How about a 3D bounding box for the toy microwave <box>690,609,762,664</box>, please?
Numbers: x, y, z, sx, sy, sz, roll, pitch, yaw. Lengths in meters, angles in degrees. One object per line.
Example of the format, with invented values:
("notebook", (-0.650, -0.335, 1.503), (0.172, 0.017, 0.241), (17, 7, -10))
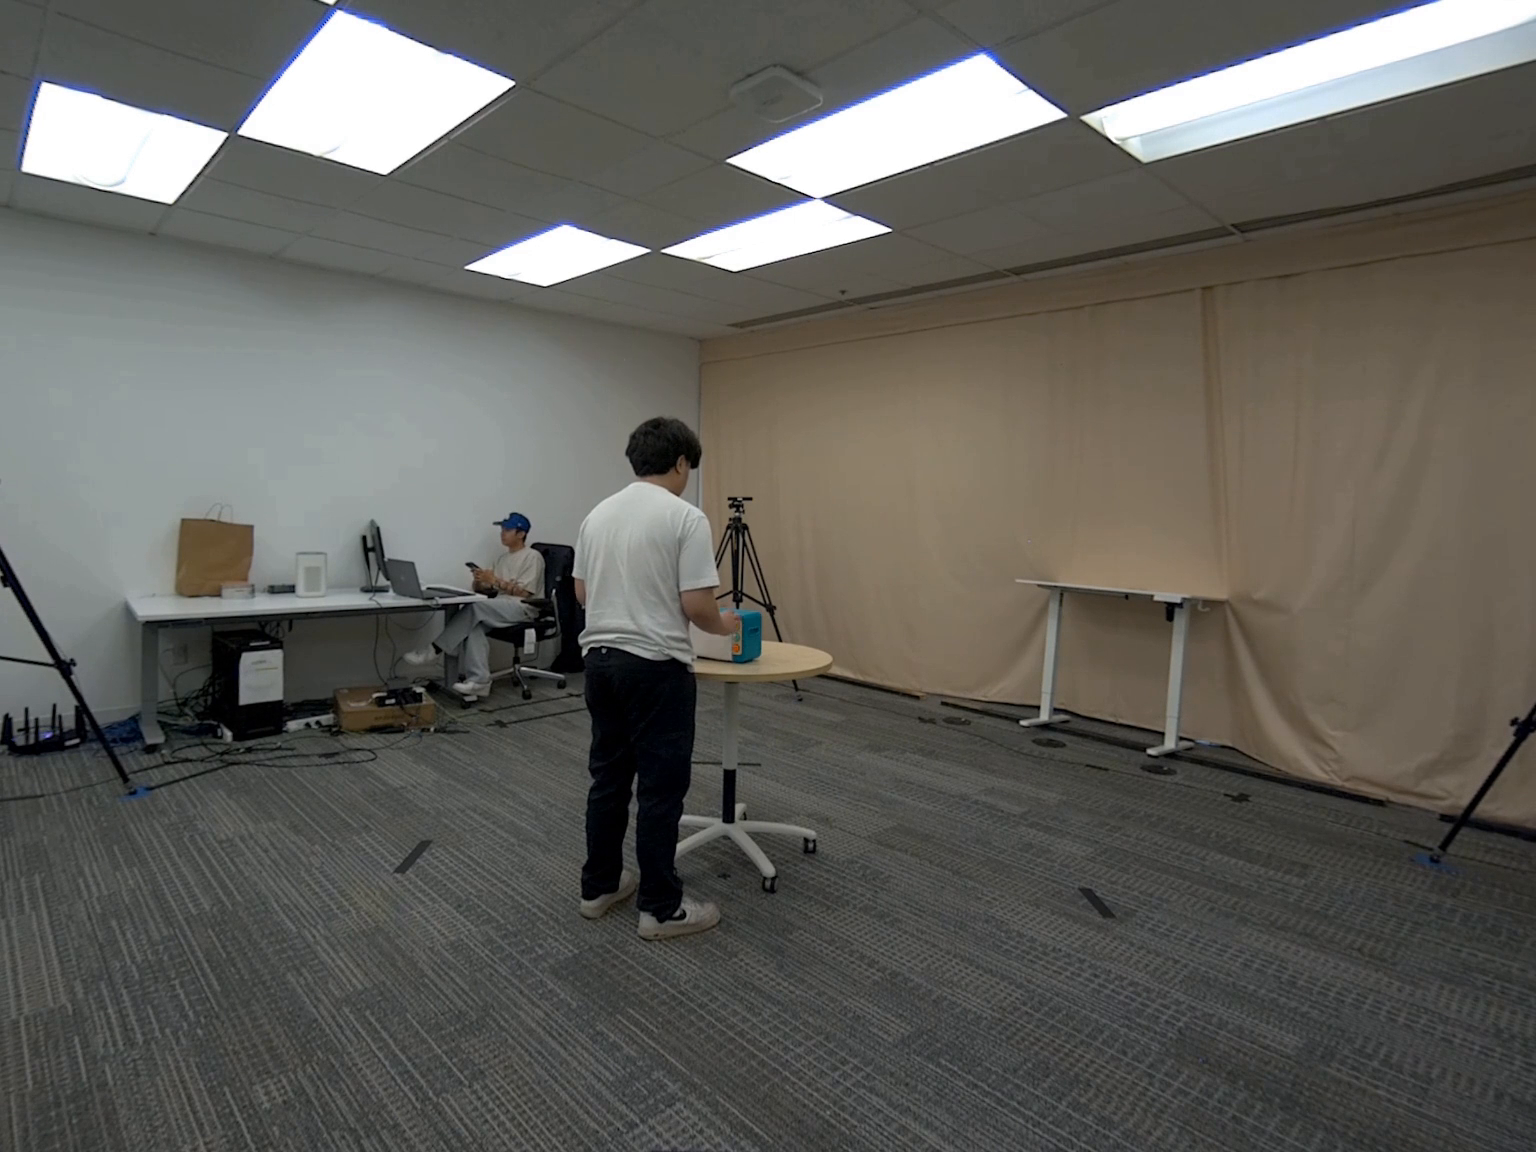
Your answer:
("toy microwave", (-0.183, 0.218, 3.142), (0.293, 0.183, 0.149), (4, 5, 32))
